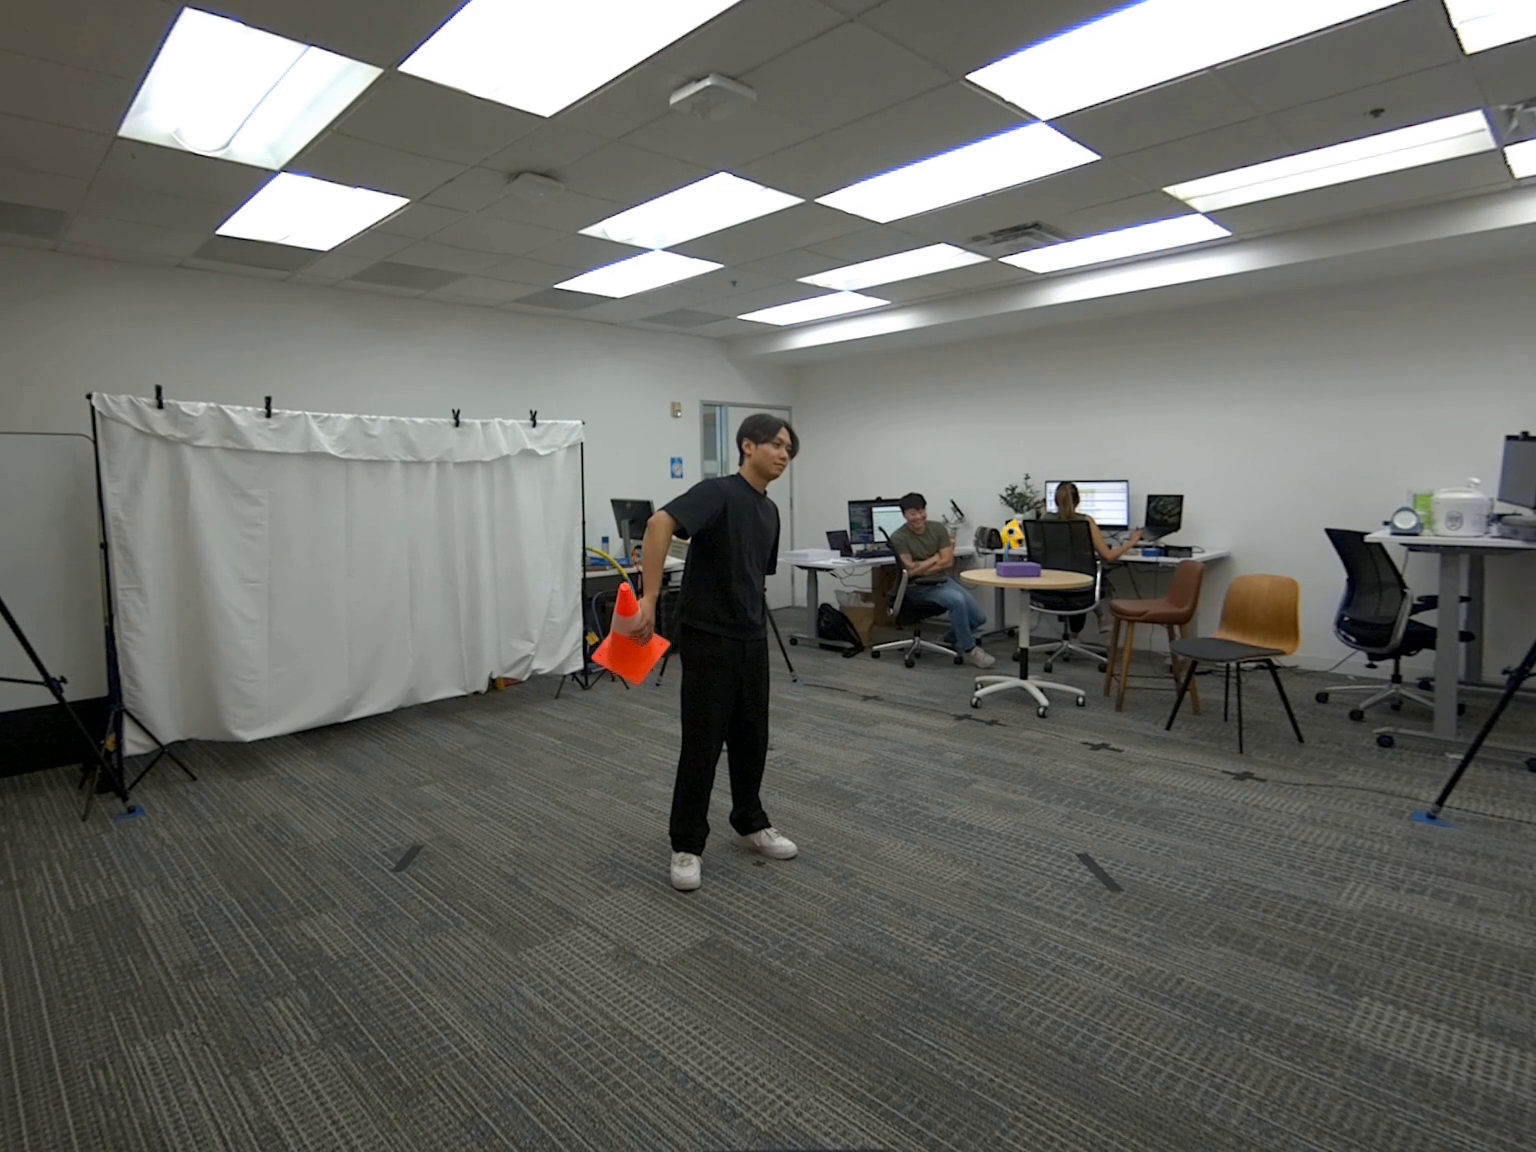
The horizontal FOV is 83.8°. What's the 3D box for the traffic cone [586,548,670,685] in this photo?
[{"bbox_3d":[-0.447,0.143,2.743,0.210,0.374,0.203,30,56,17],"label":"traffic cone"}]
